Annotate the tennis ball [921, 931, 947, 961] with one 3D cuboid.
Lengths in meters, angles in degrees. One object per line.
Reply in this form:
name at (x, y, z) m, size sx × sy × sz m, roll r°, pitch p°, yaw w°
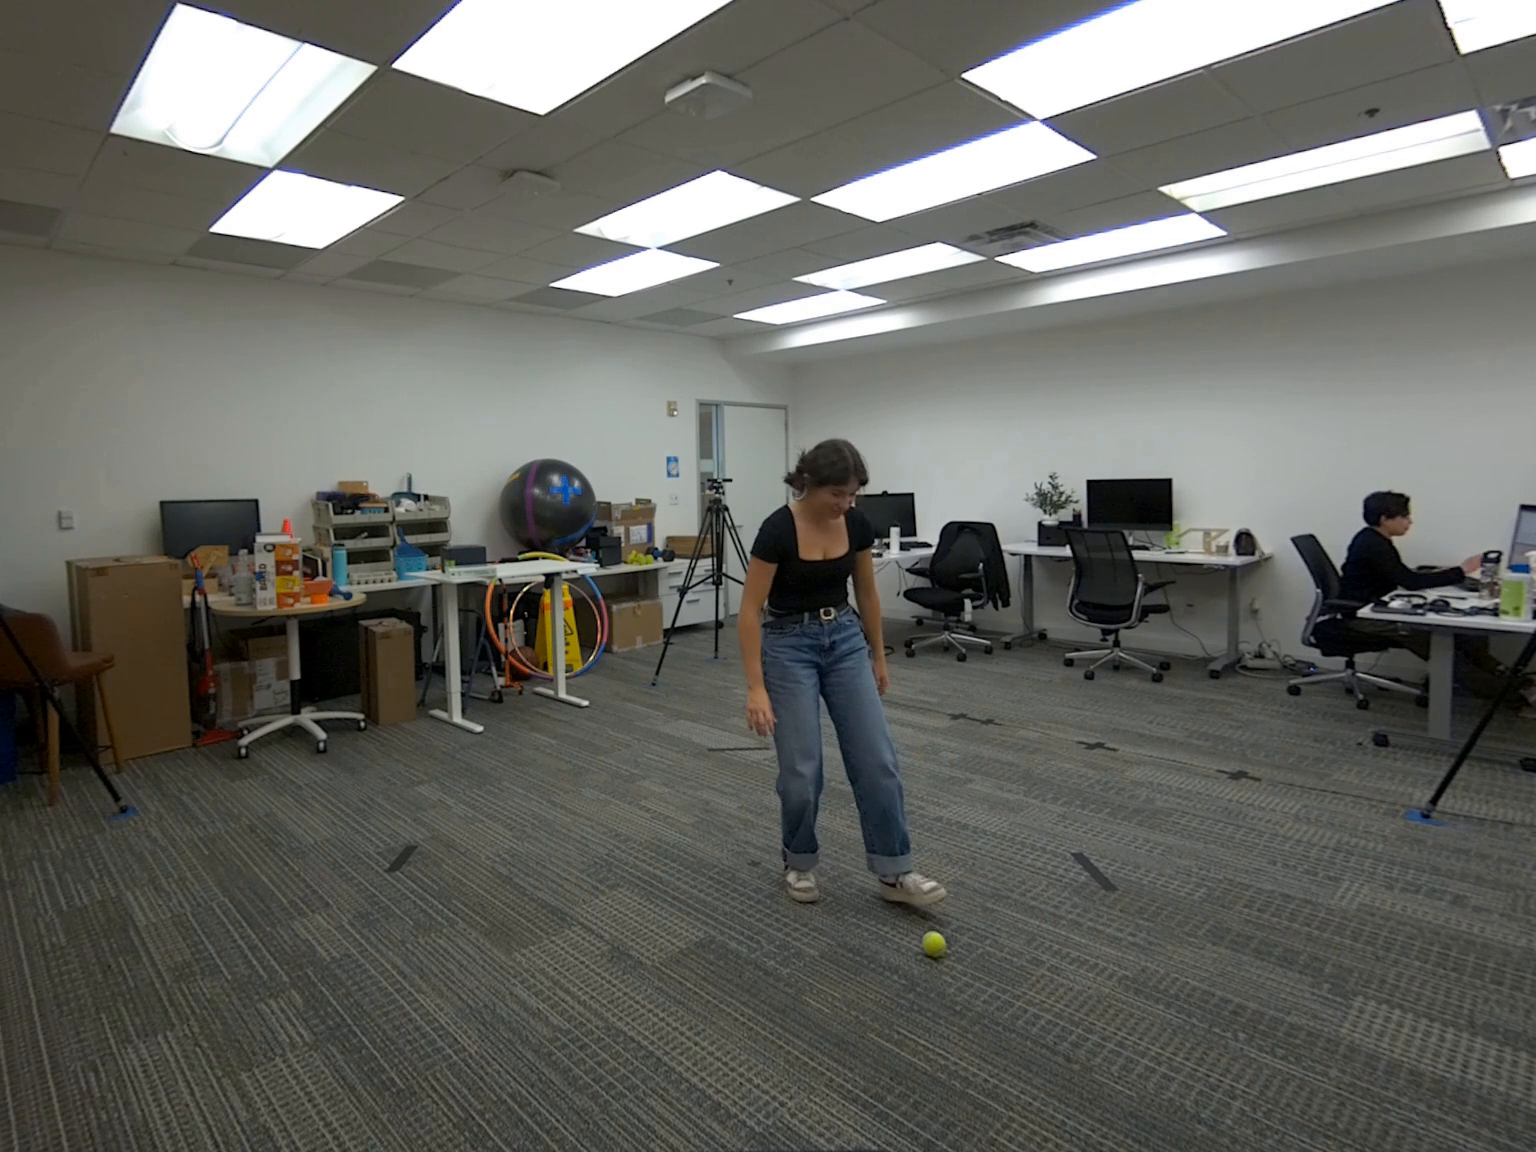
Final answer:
tennis ball at (0.483, 1.071, 2.489) m, size 0.066 × 0.066 × 0.067 m, roll -1°, pitch 5°, yaw -2°
